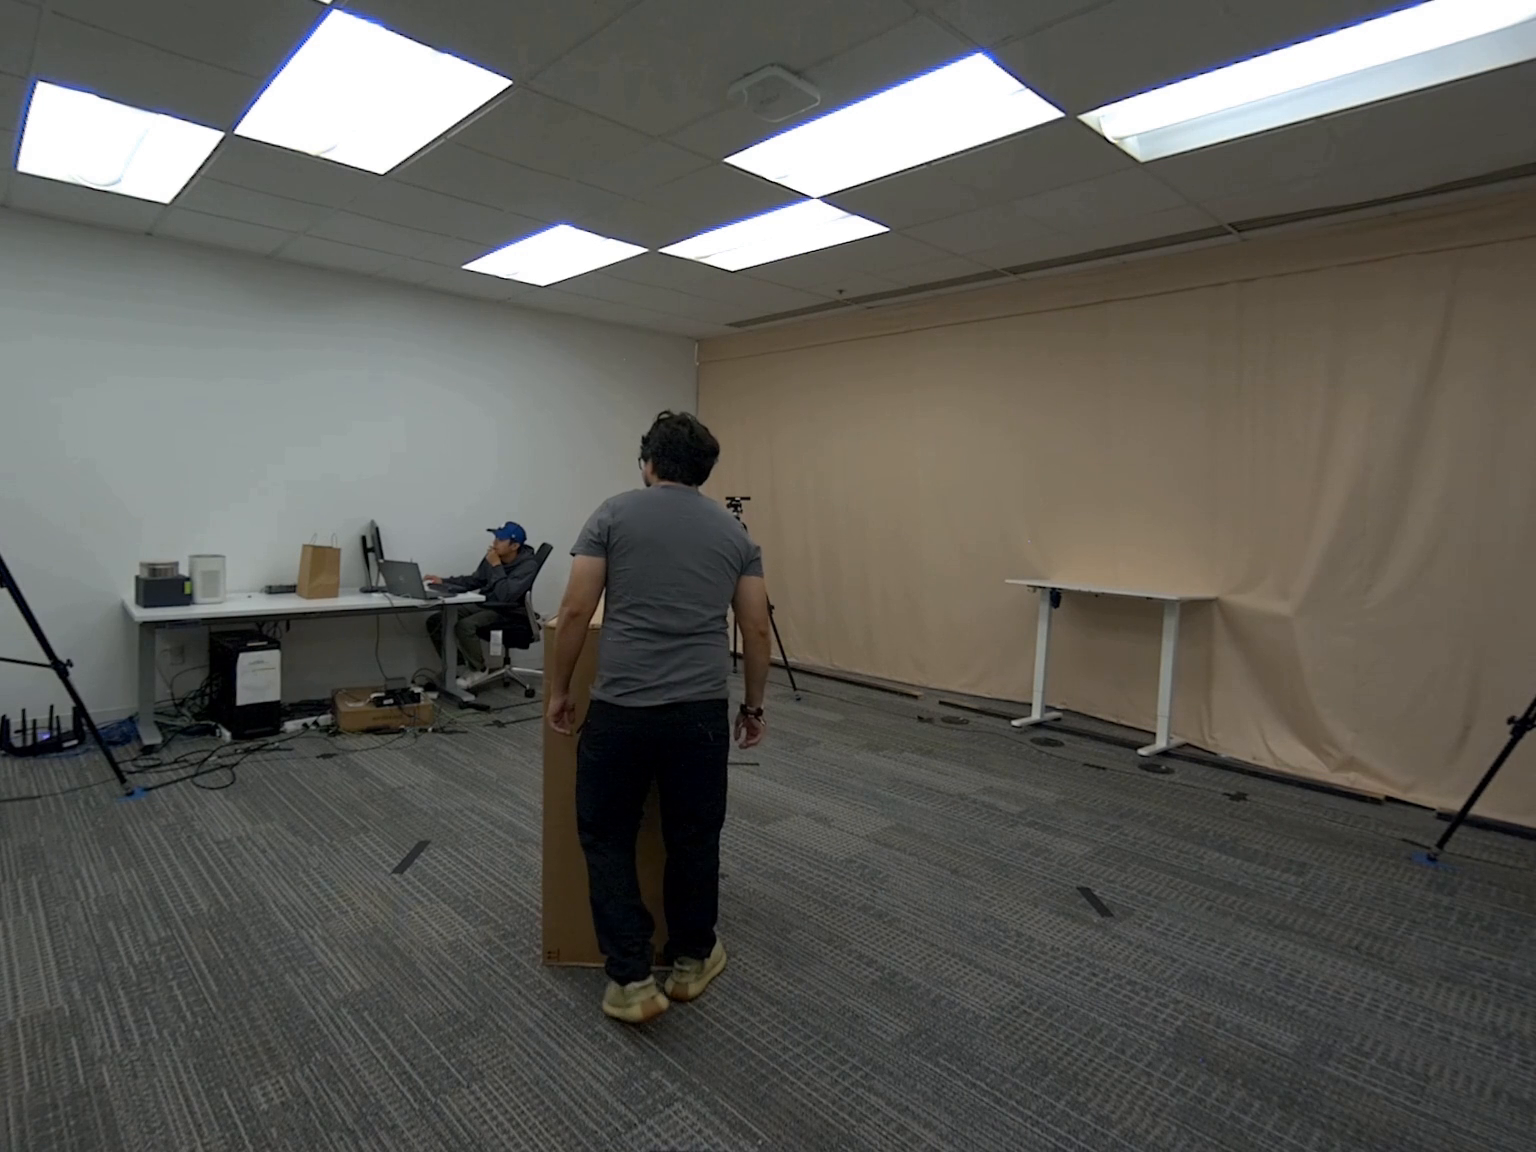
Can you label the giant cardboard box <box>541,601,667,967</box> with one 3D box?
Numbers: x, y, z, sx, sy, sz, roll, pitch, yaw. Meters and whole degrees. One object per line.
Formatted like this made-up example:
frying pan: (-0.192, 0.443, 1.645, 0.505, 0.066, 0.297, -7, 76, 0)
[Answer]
giant cardboard box: (-0.458, 0.630, 2.733, 0.448, 1.024, 0.584, 2, 4, 1)
